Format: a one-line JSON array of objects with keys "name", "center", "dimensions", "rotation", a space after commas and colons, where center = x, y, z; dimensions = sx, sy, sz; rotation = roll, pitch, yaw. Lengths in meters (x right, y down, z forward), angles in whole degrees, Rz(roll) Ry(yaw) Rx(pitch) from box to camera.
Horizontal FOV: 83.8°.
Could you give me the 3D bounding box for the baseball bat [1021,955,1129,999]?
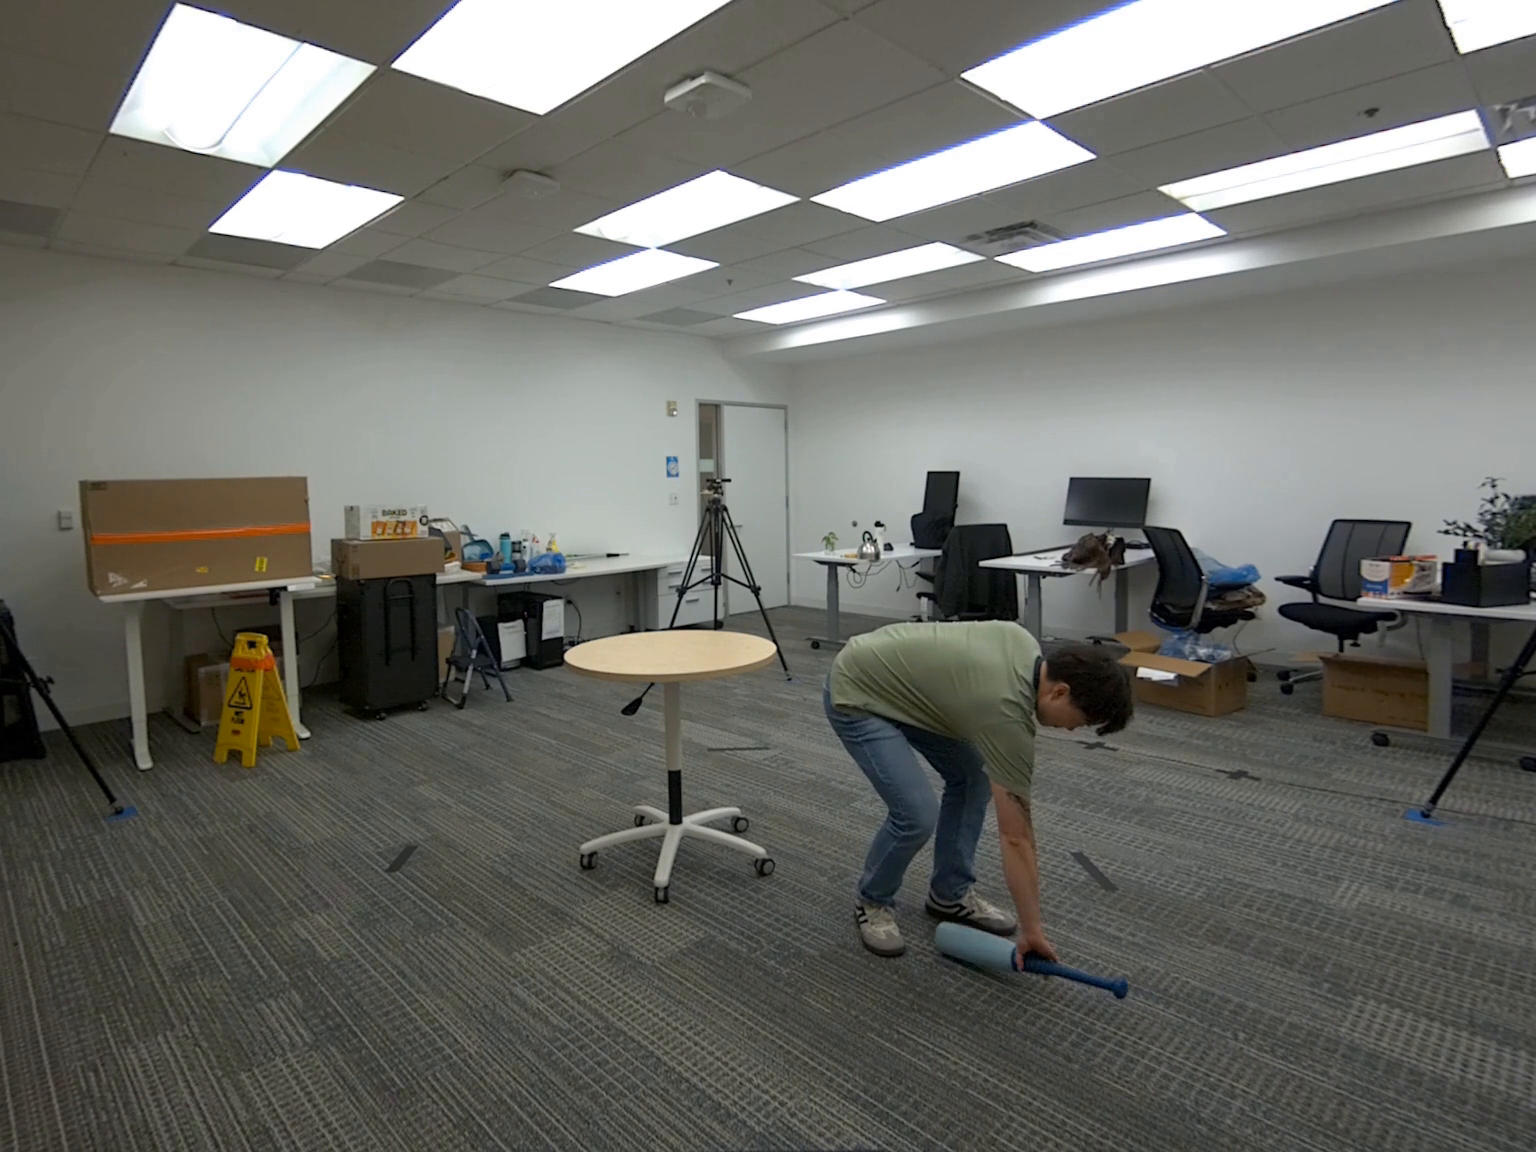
[{"name": "baseball bat", "center": [0.706, 1.038, 2.307], "dimensions": [0.087, 0.089, 0.557], "rotation": [-5, 0, -41]}]
